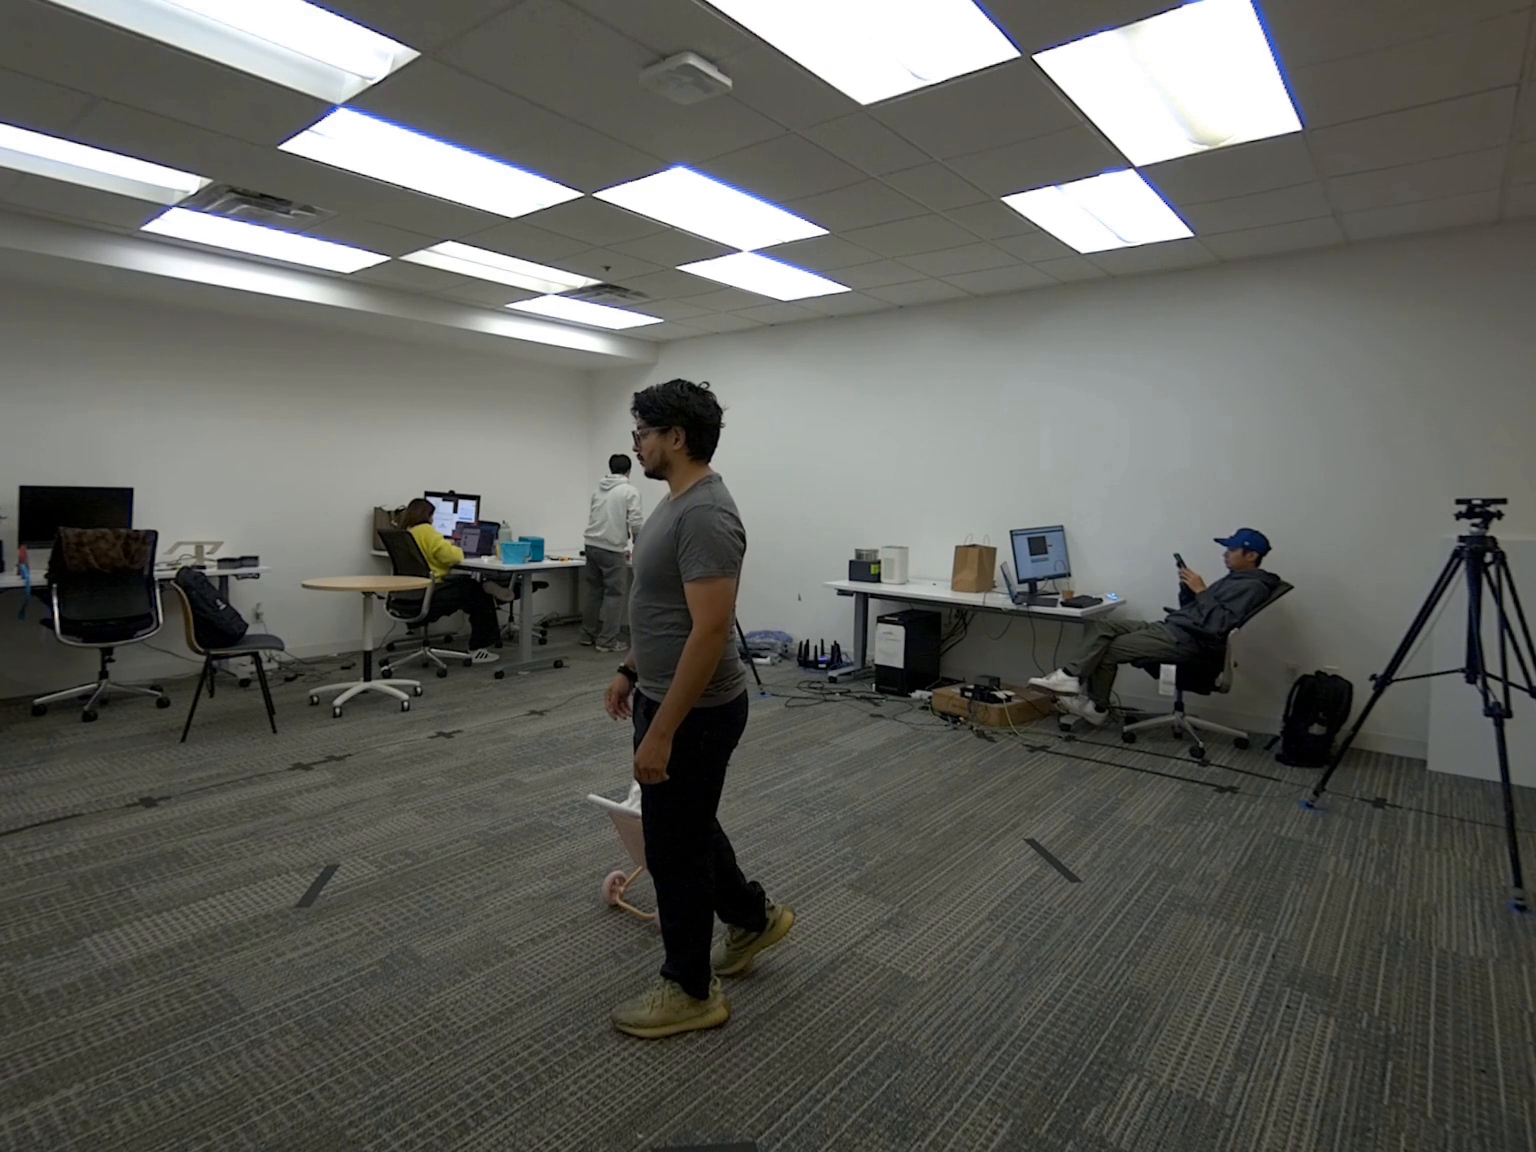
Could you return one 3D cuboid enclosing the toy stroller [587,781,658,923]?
[{"bbox_3d":[-0.376,0.873,2.787,0.291,0.526,0.336,4,22,42],"label":"toy stroller"}]
